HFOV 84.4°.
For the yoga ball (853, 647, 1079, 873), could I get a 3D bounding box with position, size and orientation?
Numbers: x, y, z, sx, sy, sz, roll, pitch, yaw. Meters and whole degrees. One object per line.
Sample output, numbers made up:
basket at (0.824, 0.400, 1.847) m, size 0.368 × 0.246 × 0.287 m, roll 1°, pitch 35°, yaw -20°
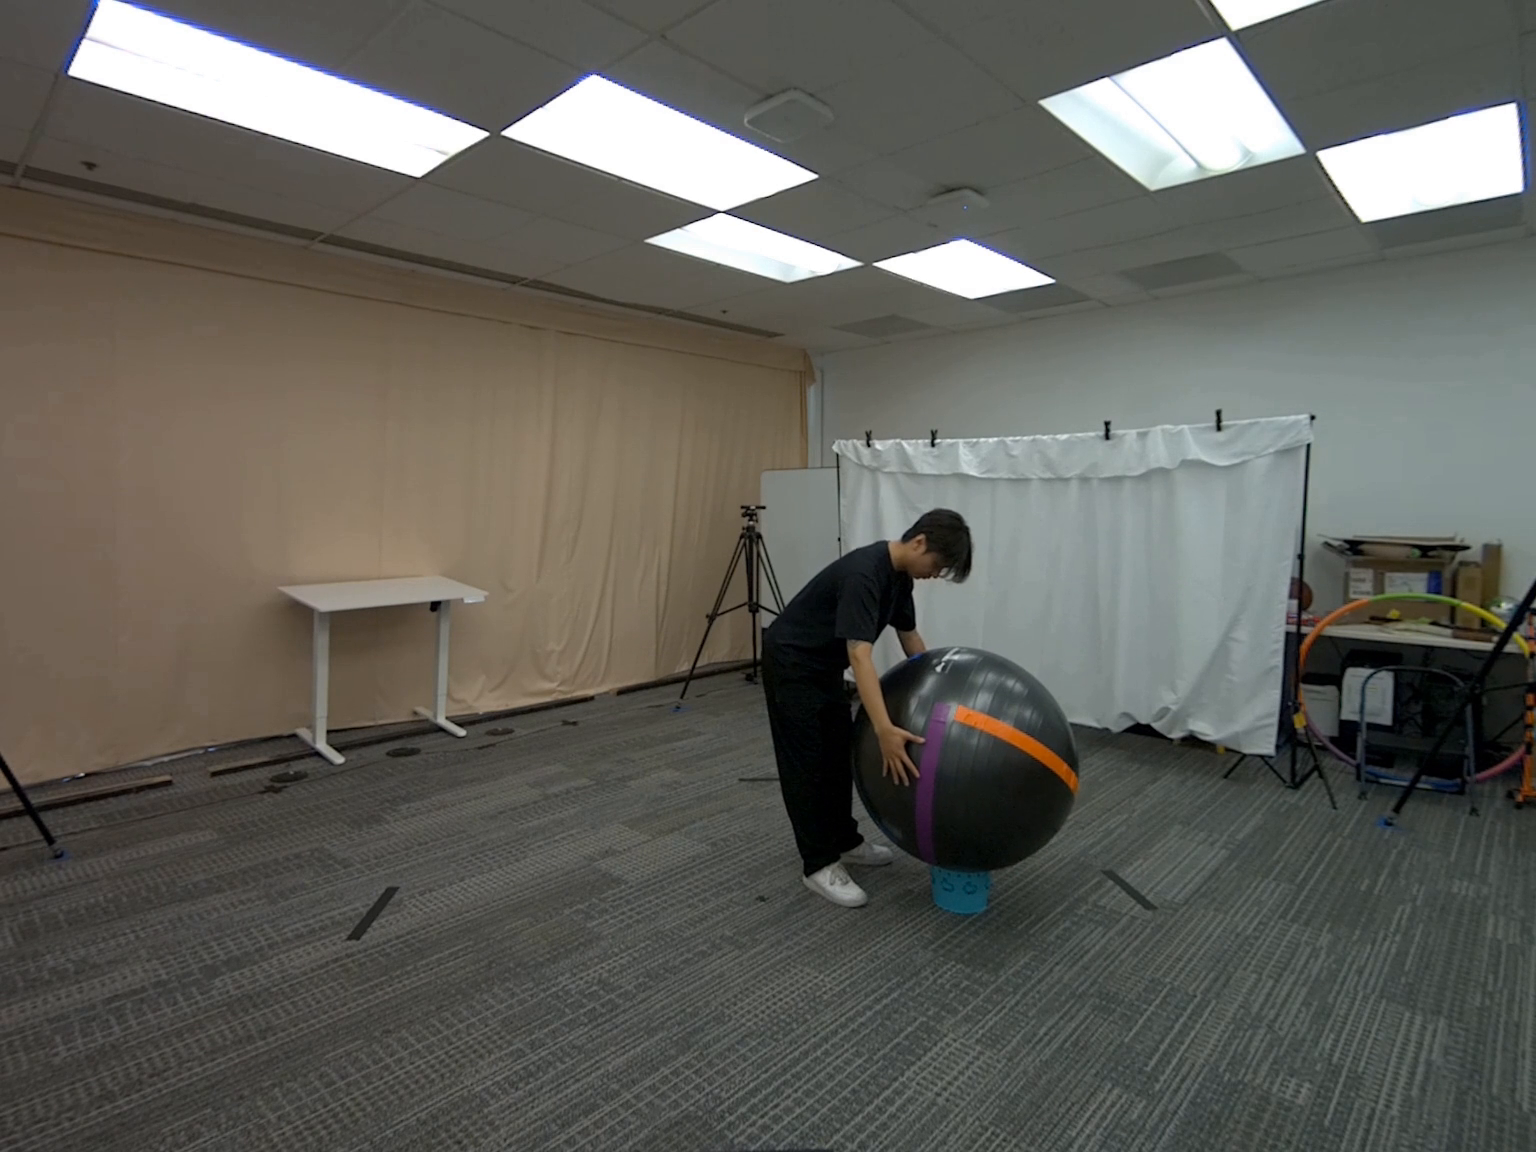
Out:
yoga ball at (0.690, 0.636, 2.935) m, size 0.757 × 0.756 × 0.760 m, roll 0°, pitch 4°, yaw -2°
